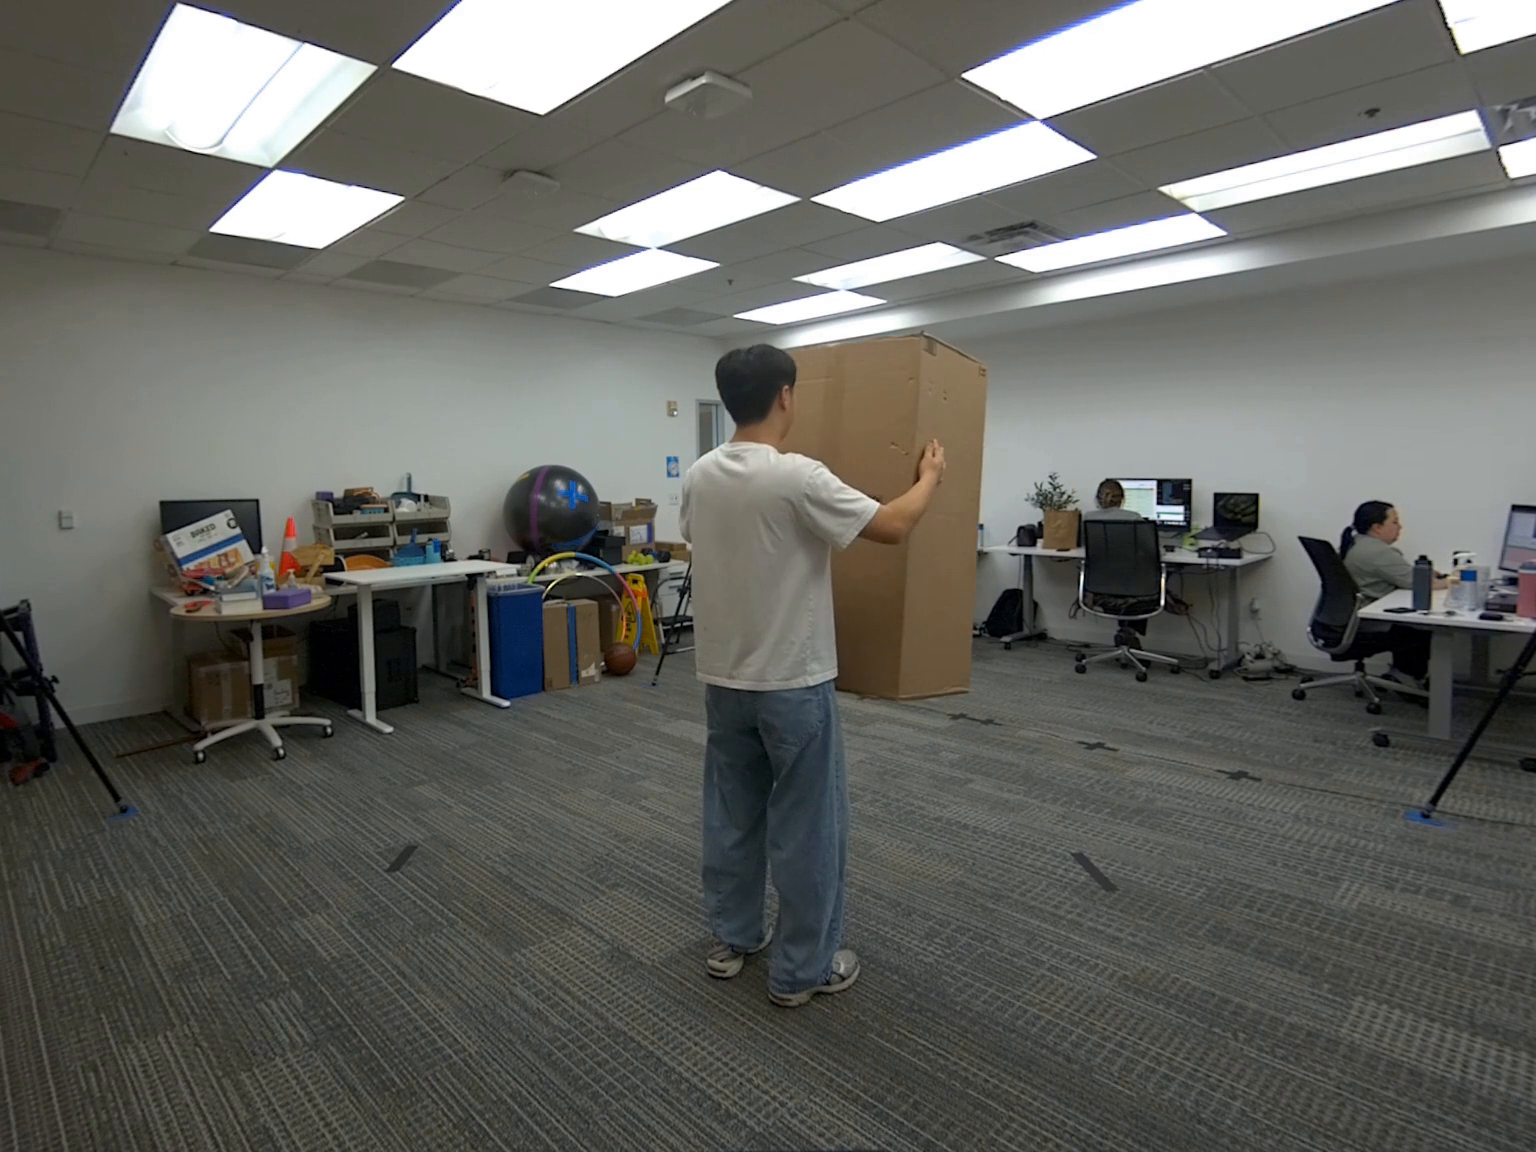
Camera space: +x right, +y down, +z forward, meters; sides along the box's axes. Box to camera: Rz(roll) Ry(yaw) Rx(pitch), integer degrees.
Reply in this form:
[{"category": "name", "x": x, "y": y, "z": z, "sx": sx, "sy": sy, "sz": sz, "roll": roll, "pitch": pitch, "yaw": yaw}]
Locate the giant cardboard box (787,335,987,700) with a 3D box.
[{"category": "giant cardboard box", "x": 0.306, "y": -0.173, "z": 2.680, "sx": 0.595, "sy": 1.028, "sz": 0.413, "roll": 2, "pitch": -3, "yaw": 40}]
